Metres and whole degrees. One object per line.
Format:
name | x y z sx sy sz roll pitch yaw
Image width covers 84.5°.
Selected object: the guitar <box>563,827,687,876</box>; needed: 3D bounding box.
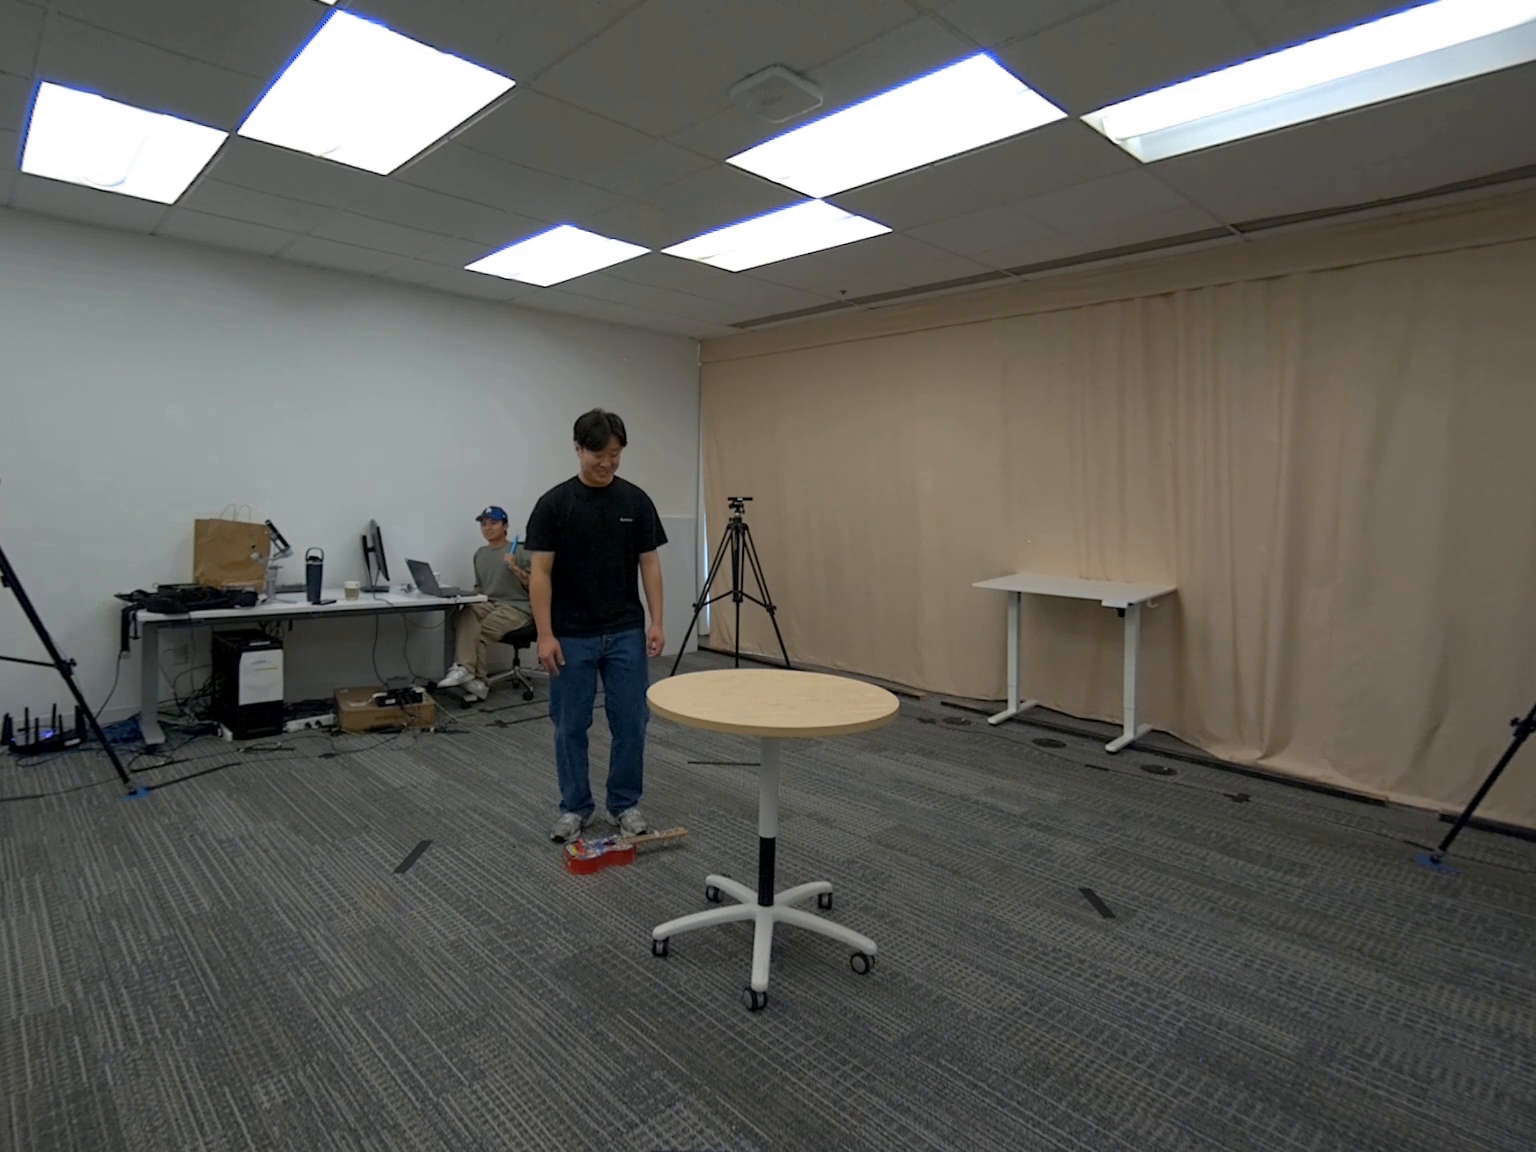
guitar | -0.541 1.053 3.234 0.491 0.070 0.196 0 5 -19
